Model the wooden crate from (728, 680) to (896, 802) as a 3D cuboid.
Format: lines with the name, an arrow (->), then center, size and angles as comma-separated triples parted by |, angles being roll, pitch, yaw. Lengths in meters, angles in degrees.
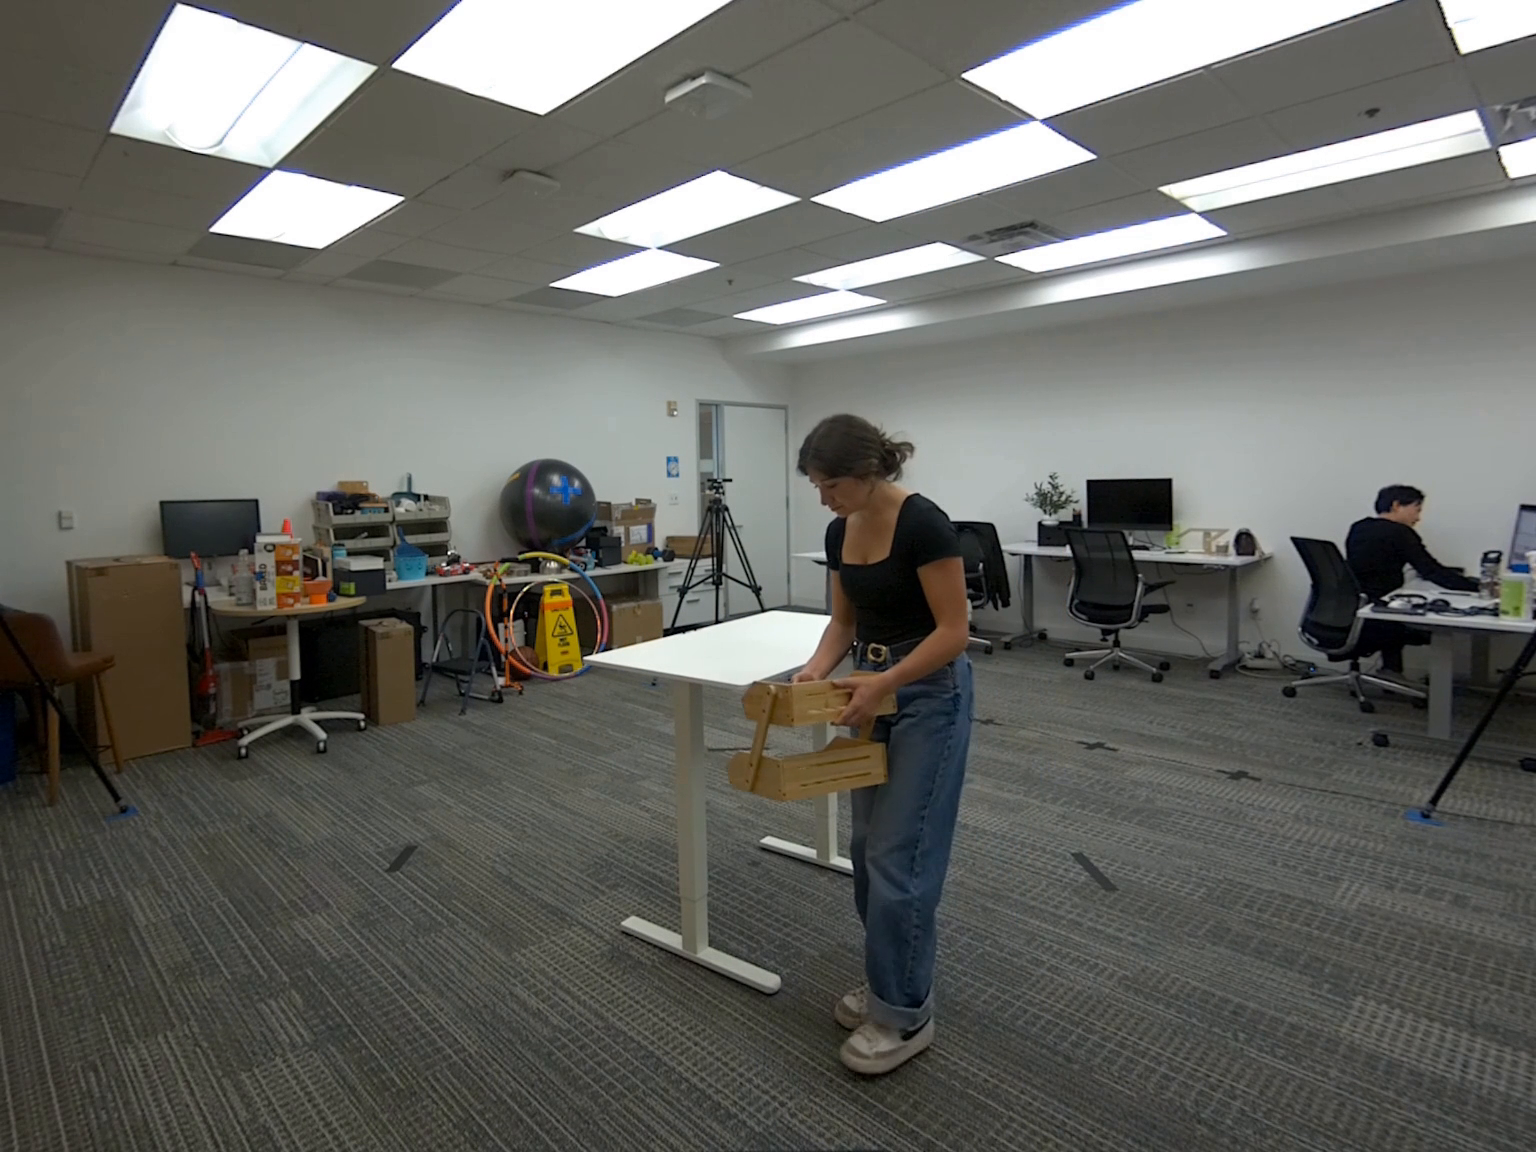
wooden crate -> 0.108, 0.372, 2.041 | 0.316, 0.274, 0.308 | -2, -4, -31
